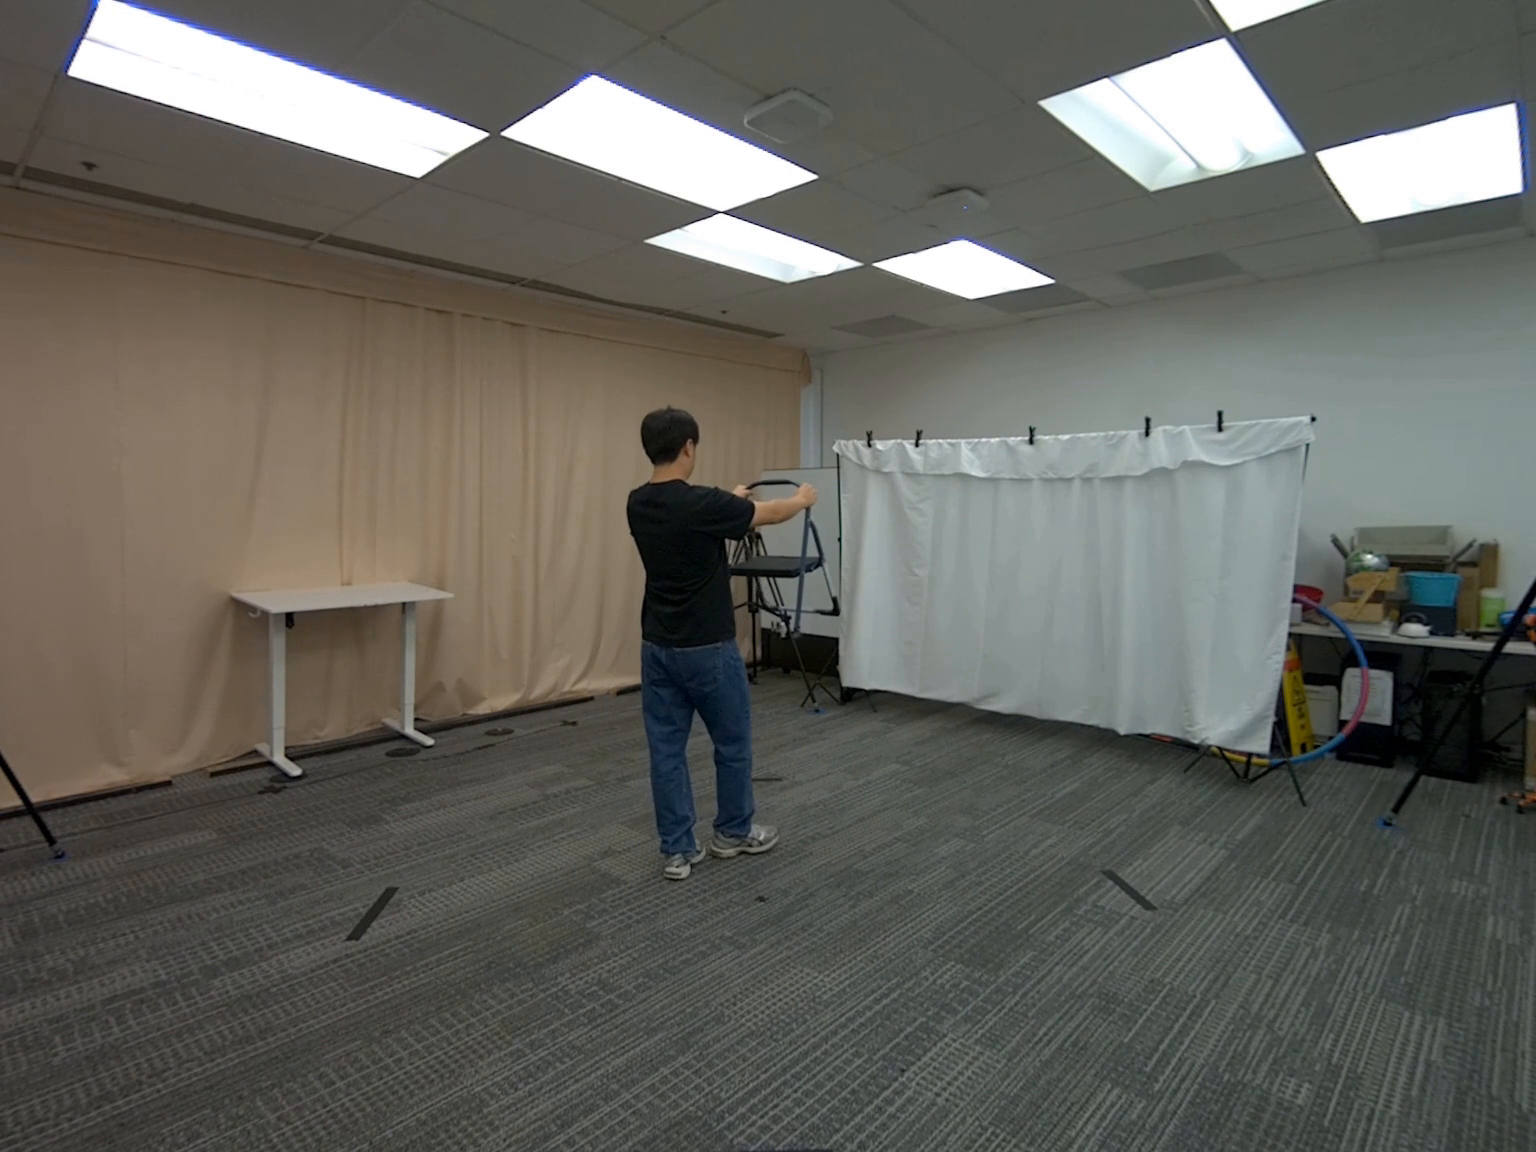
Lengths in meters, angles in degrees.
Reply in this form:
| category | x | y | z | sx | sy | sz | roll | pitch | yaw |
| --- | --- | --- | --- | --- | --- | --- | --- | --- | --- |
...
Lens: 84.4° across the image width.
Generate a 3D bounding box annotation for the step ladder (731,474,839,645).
| category | x | y | z | sx | sy | sz | roll | pitch | yaw |
| --- | --- | --- | --- | --- | --- | --- | --- | --- | --- |
| step ladder | 0.023 | -0.092 | 3.574 | 0.444 | 0.603 | 0.340 | -1 | 8 | 36 |
